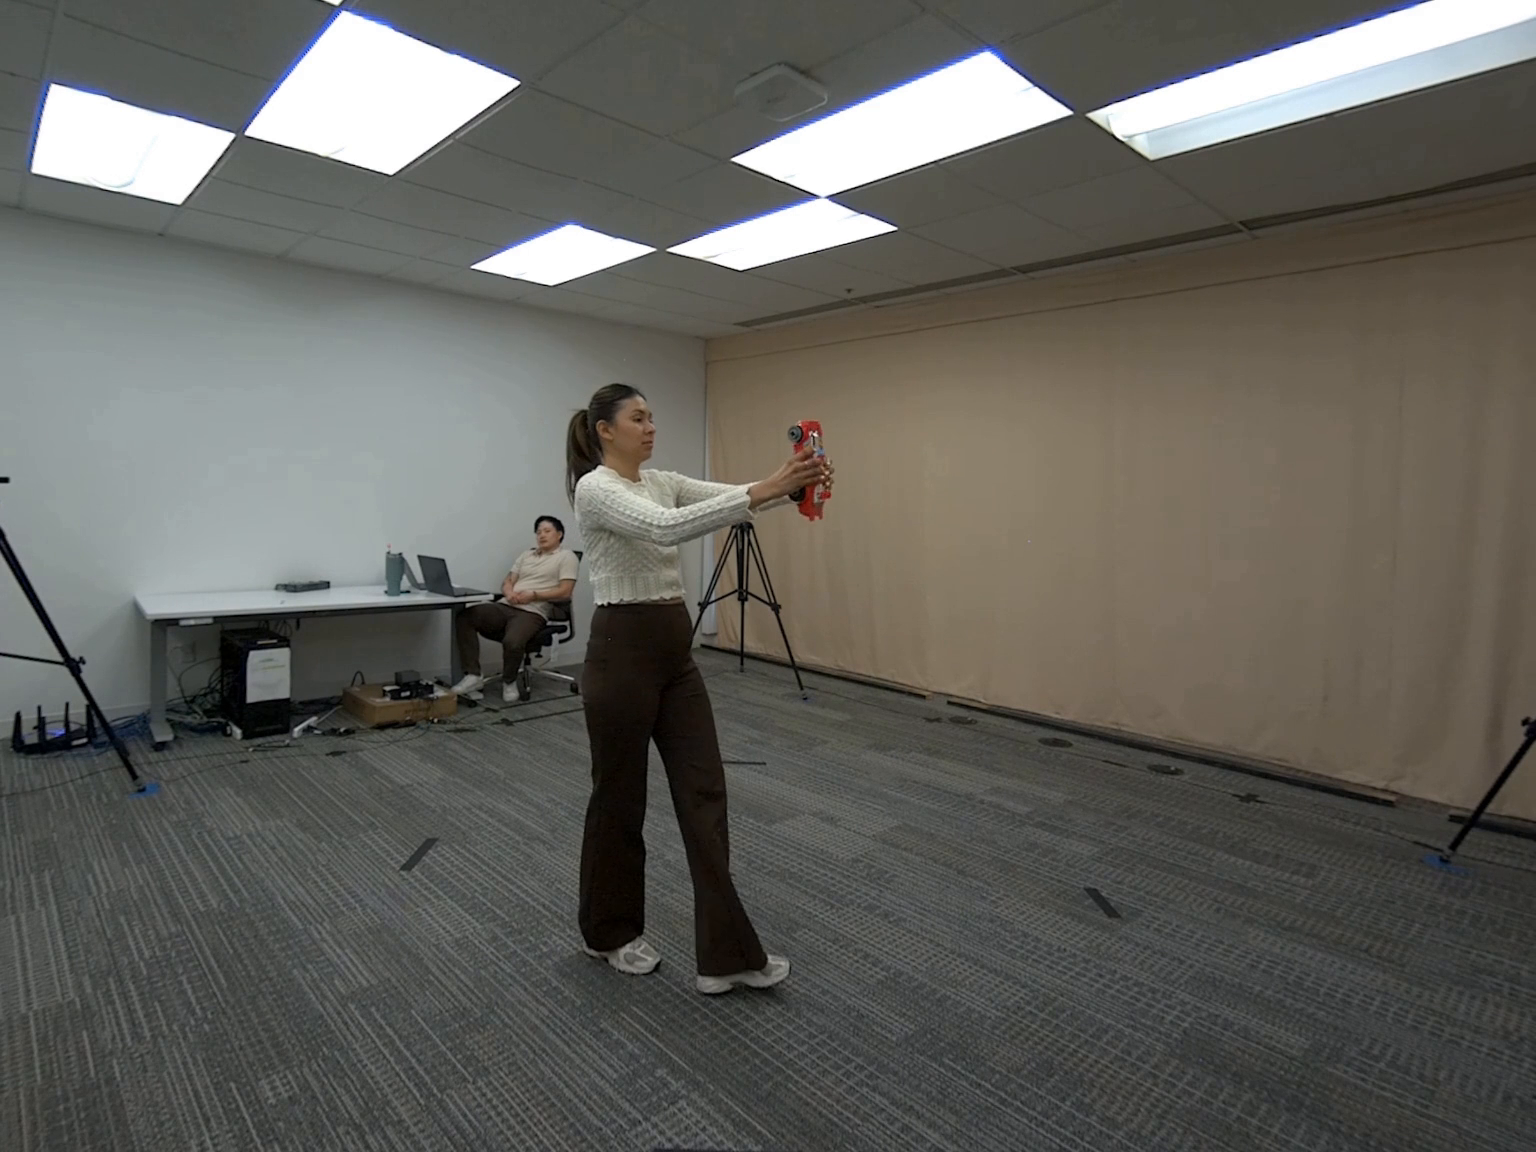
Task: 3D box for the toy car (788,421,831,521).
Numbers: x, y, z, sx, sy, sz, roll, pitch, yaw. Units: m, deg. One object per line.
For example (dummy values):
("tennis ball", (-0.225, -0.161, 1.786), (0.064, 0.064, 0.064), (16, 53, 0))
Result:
("toy car", (0.089, -0.268, 2.145), (0.084, 0.254, 0.129), (-6, 4, 22))
